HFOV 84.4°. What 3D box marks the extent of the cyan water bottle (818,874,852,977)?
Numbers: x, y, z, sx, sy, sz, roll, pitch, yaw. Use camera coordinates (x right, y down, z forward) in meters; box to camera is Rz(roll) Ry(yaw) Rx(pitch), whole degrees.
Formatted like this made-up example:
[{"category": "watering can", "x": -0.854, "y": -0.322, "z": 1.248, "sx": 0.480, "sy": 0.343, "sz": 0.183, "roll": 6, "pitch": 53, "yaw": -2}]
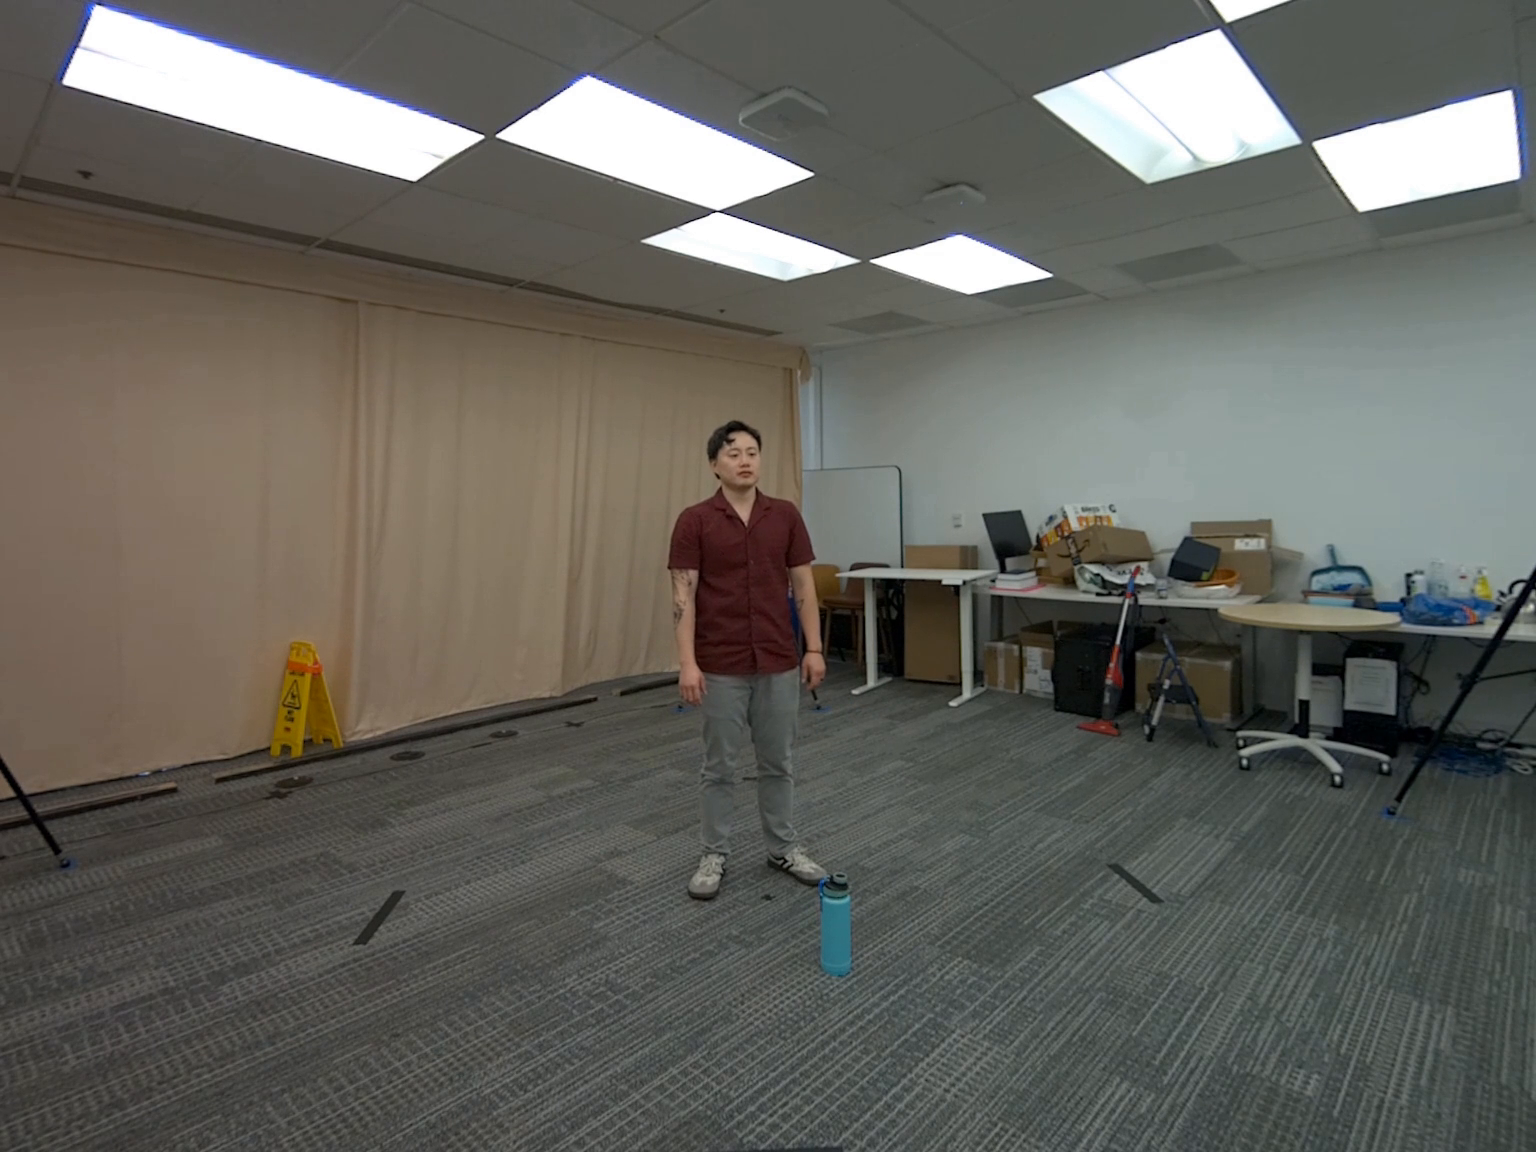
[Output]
[{"category": "cyan water bottle", "x": 0.210, "y": 1.037, "z": 2.514, "sx": 0.092, "sy": 0.283, "sz": 0.092, "roll": -1, "pitch": 2, "yaw": -2}]
